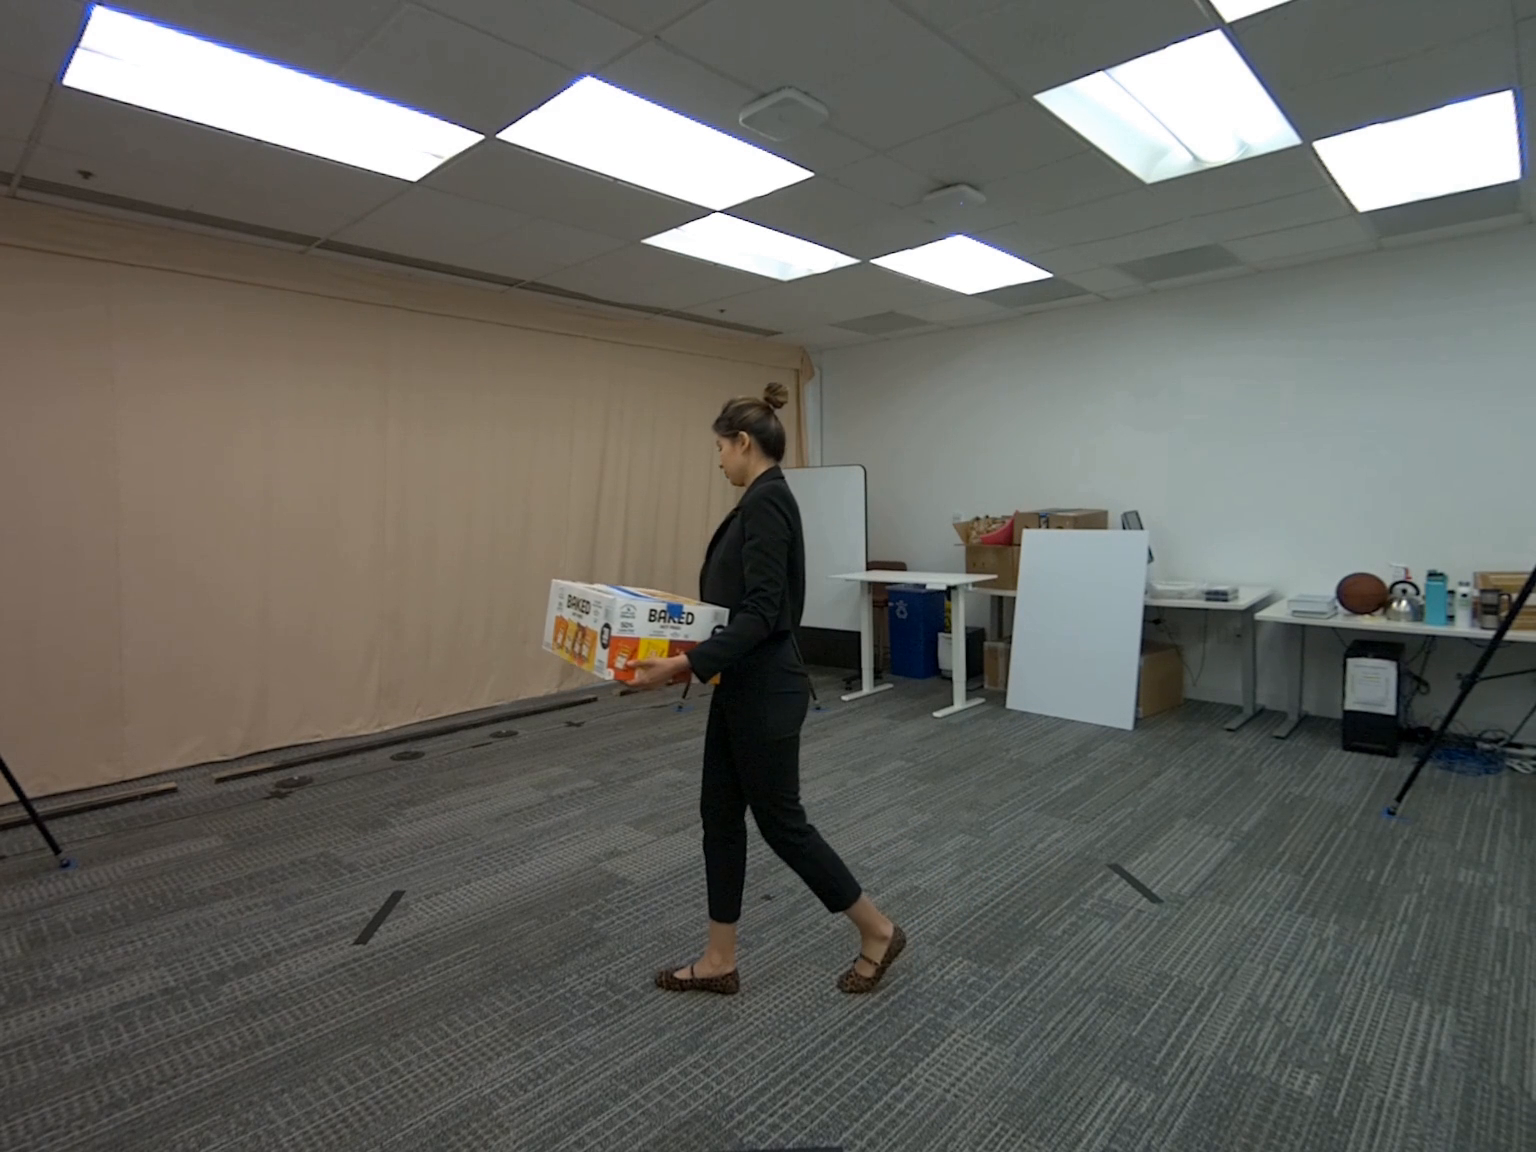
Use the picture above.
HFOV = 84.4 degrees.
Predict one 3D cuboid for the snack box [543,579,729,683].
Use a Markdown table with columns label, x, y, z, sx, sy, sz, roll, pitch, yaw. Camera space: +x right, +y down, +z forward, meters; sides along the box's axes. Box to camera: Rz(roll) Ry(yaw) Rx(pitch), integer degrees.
| label | x | y | z | sx | sy | sz | roll | pitch | yaw |
| --- | --- | --- | --- | --- | --- | --- | --- | --- | --- |
| snack box | -0.361 | 0.149 | 2.300 | 0.329 | 0.205 | 0.418 | 8 | 1 | -35 |
